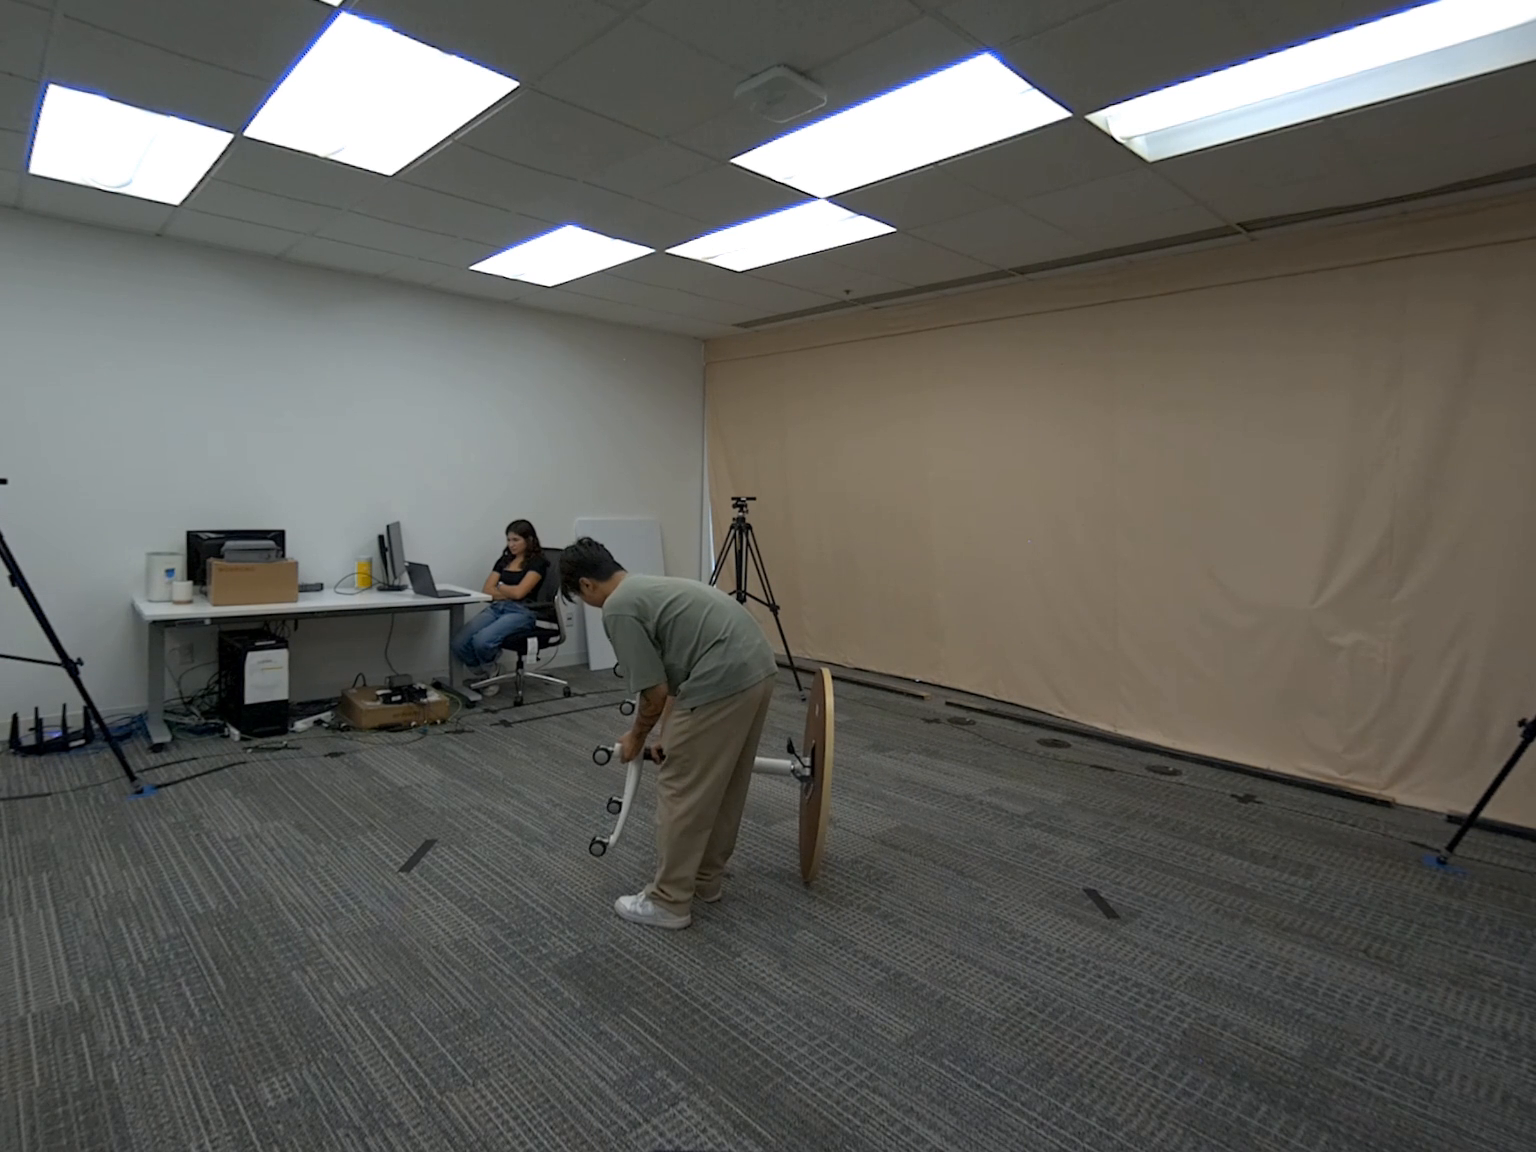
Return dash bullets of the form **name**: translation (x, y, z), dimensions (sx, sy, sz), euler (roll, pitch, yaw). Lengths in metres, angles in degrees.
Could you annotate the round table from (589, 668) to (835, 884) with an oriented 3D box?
- **round table**: translation (-0.216, 0.688, 3.150), dimensions (0.786, 0.783, 0.787), euler (5, 4, -1)
